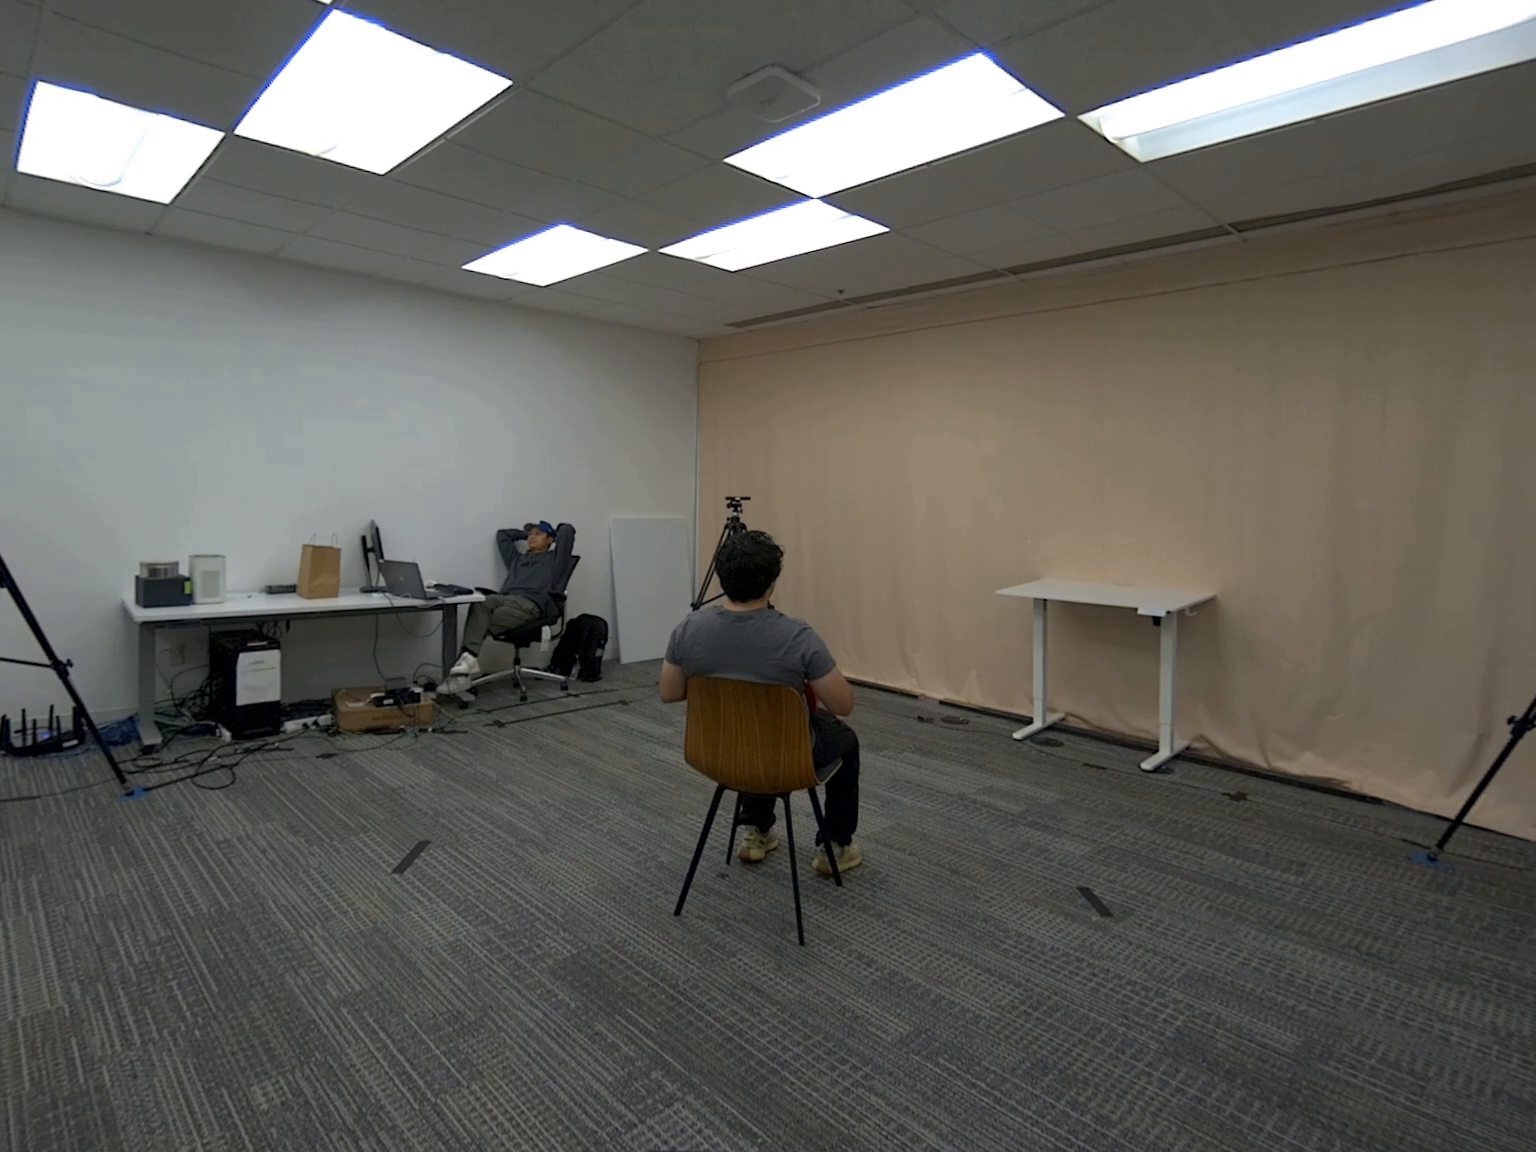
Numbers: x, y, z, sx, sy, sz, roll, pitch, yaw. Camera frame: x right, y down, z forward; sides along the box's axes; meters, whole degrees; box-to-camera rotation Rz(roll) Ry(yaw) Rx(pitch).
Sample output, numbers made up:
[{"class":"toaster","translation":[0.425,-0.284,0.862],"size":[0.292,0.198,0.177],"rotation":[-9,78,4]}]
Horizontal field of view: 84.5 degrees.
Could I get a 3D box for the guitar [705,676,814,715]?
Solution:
[{"class":"guitar","translation":[-0.025,0.349,3.004],"size":[0.511,0.187,0.071],"rotation":[12,48,34]}]
